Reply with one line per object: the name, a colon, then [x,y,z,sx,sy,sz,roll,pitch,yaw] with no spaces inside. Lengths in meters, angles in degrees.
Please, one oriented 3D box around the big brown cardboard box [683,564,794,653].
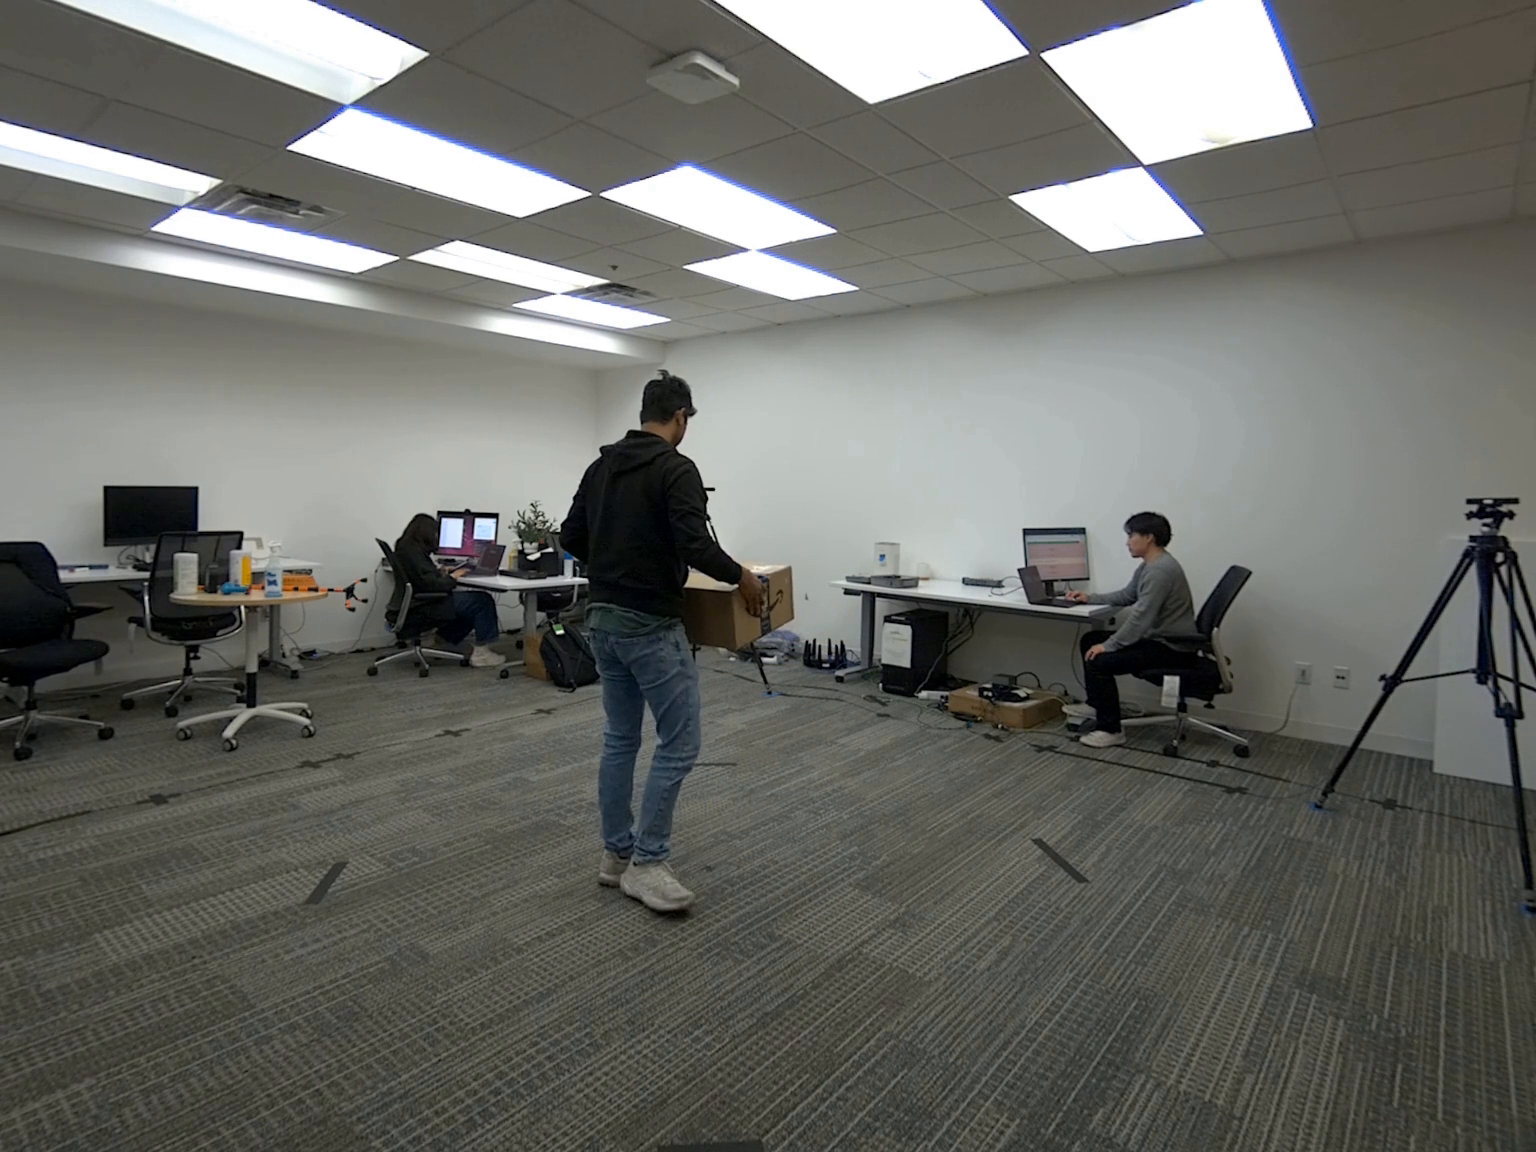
big brown cardboard box: [-0.253,0.086,3.245,0.607,0.231,0.409,3,13,33]
